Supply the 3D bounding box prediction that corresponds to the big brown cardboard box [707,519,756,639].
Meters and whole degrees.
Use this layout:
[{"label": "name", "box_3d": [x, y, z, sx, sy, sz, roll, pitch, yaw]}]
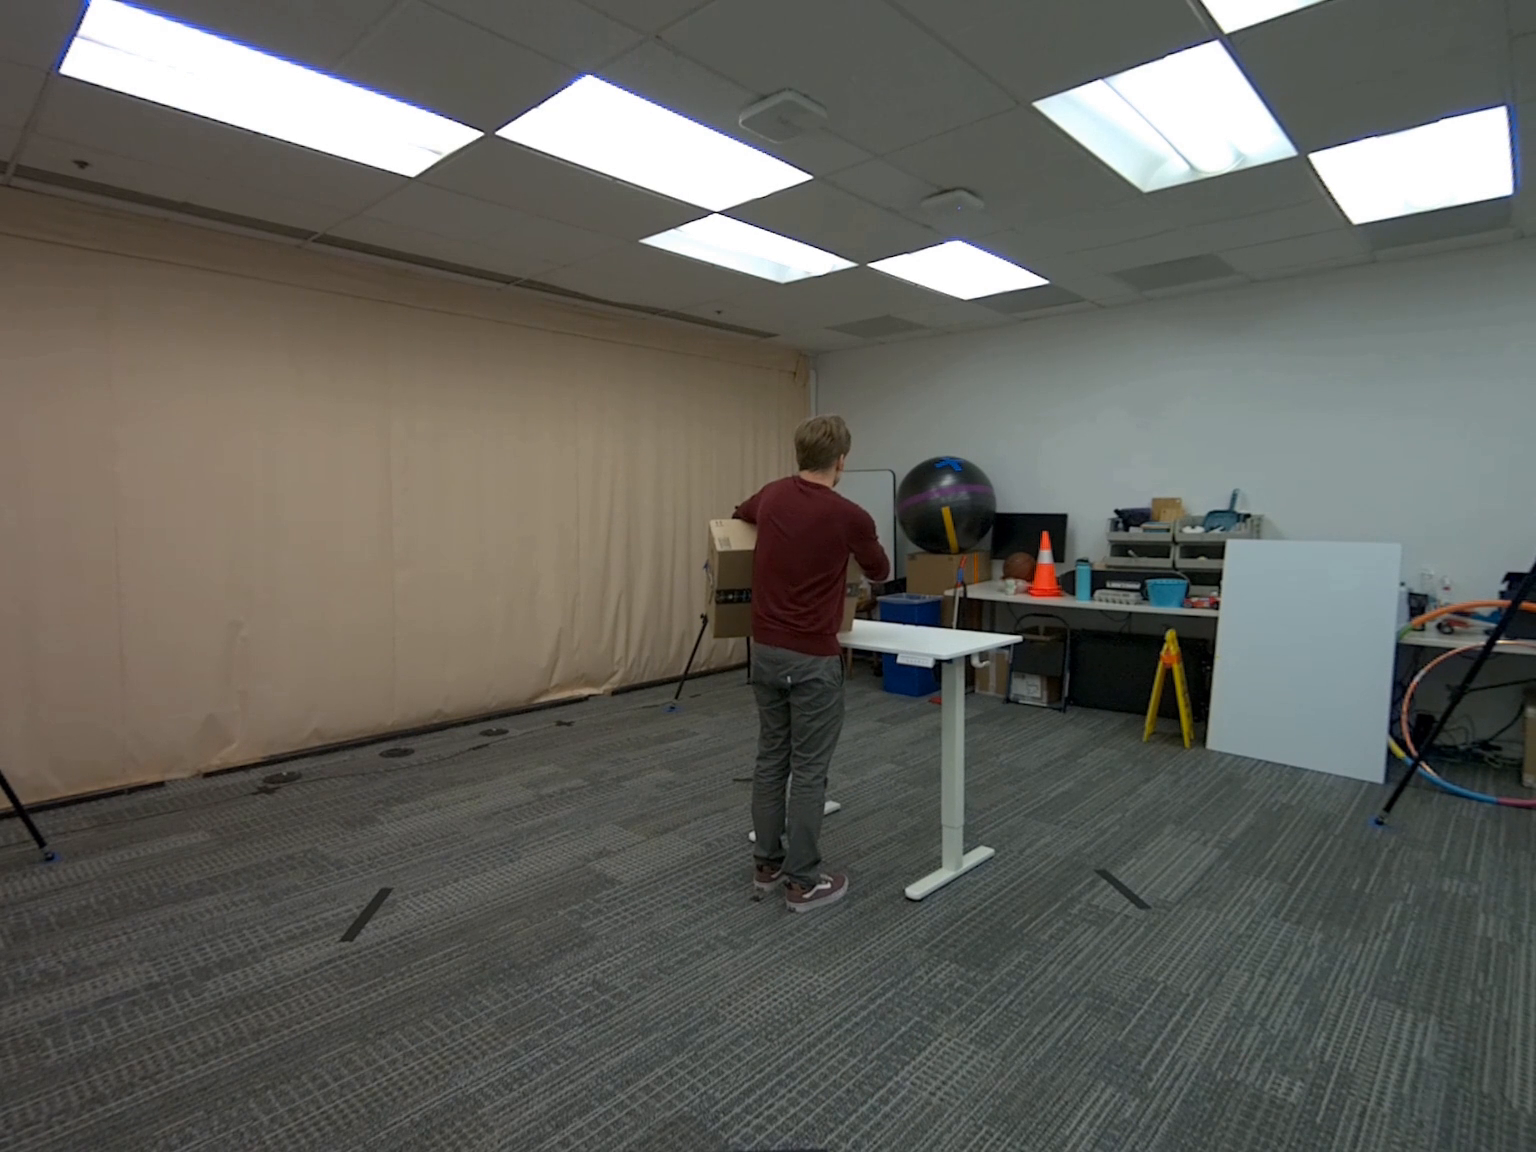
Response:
[{"label": "big brown cardboard box", "box_3d": [0.050, 0.009, 3.290, 0.583, 0.412, 0.239, -1, 34, -10]}]
